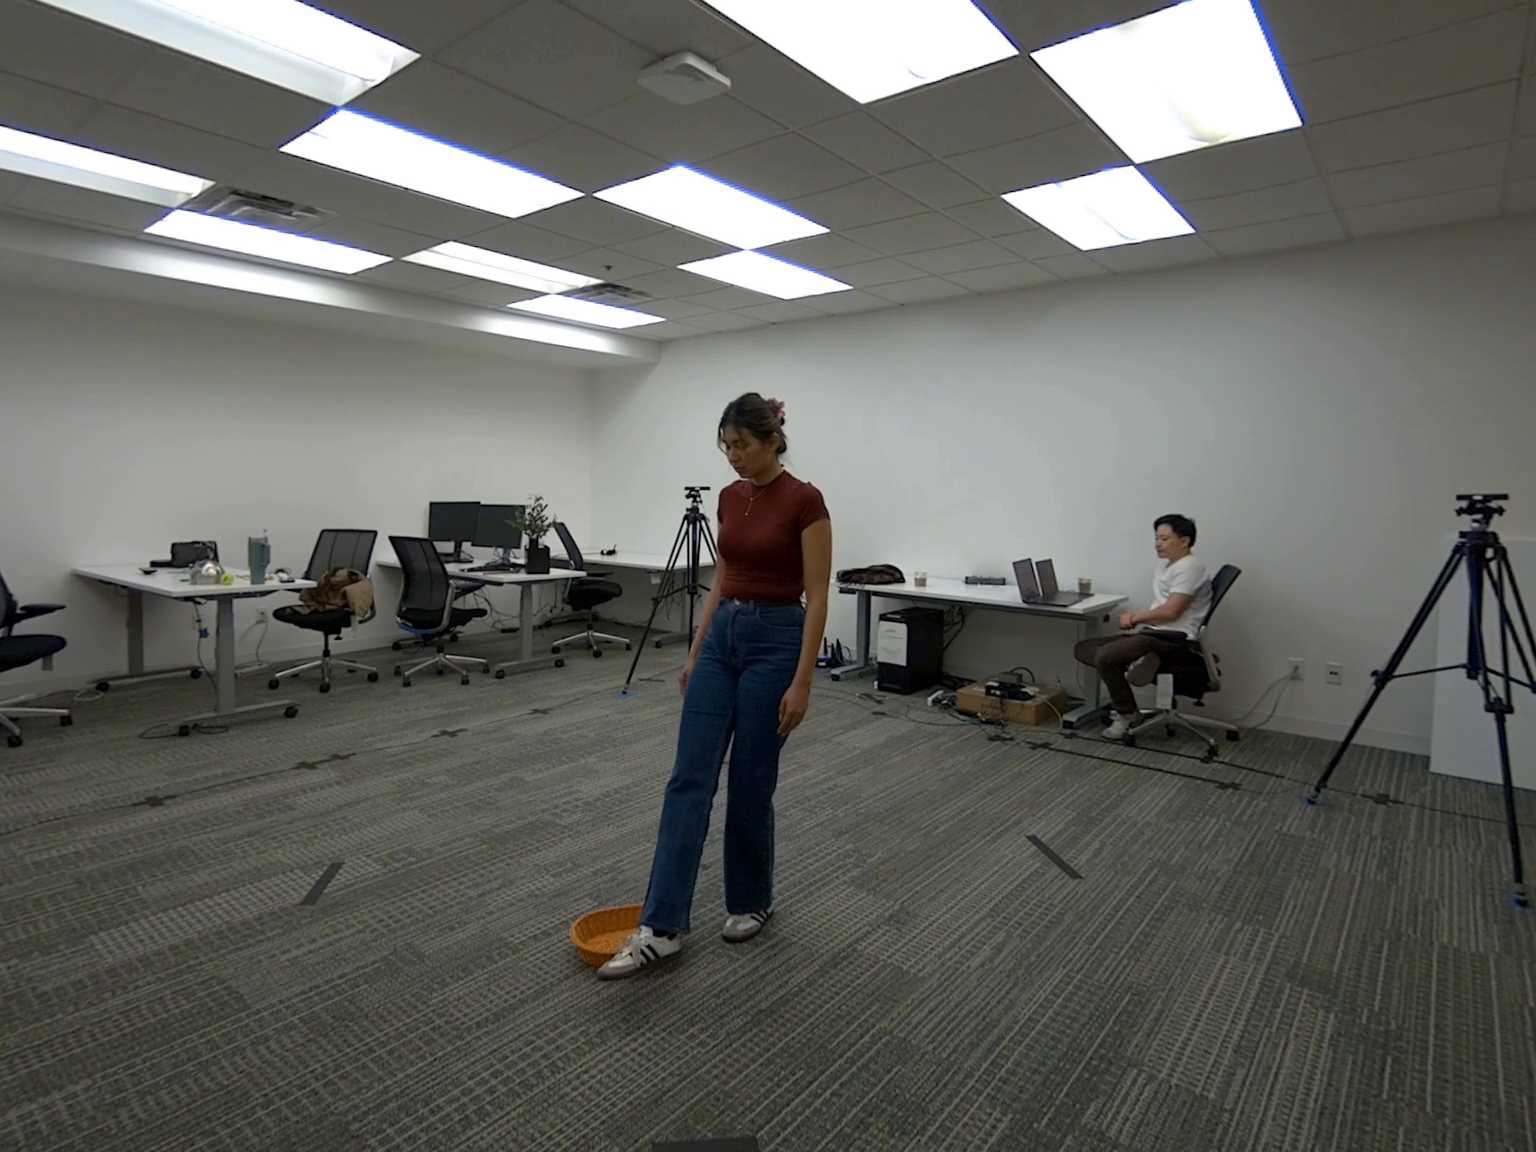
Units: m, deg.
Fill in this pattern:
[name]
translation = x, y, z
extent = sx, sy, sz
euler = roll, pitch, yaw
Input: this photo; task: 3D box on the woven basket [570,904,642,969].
[woven basket]
translation = -0.430, 1.082, 2.548
extent = 0.345, 0.073, 0.258
euler = -1, 7, -16
